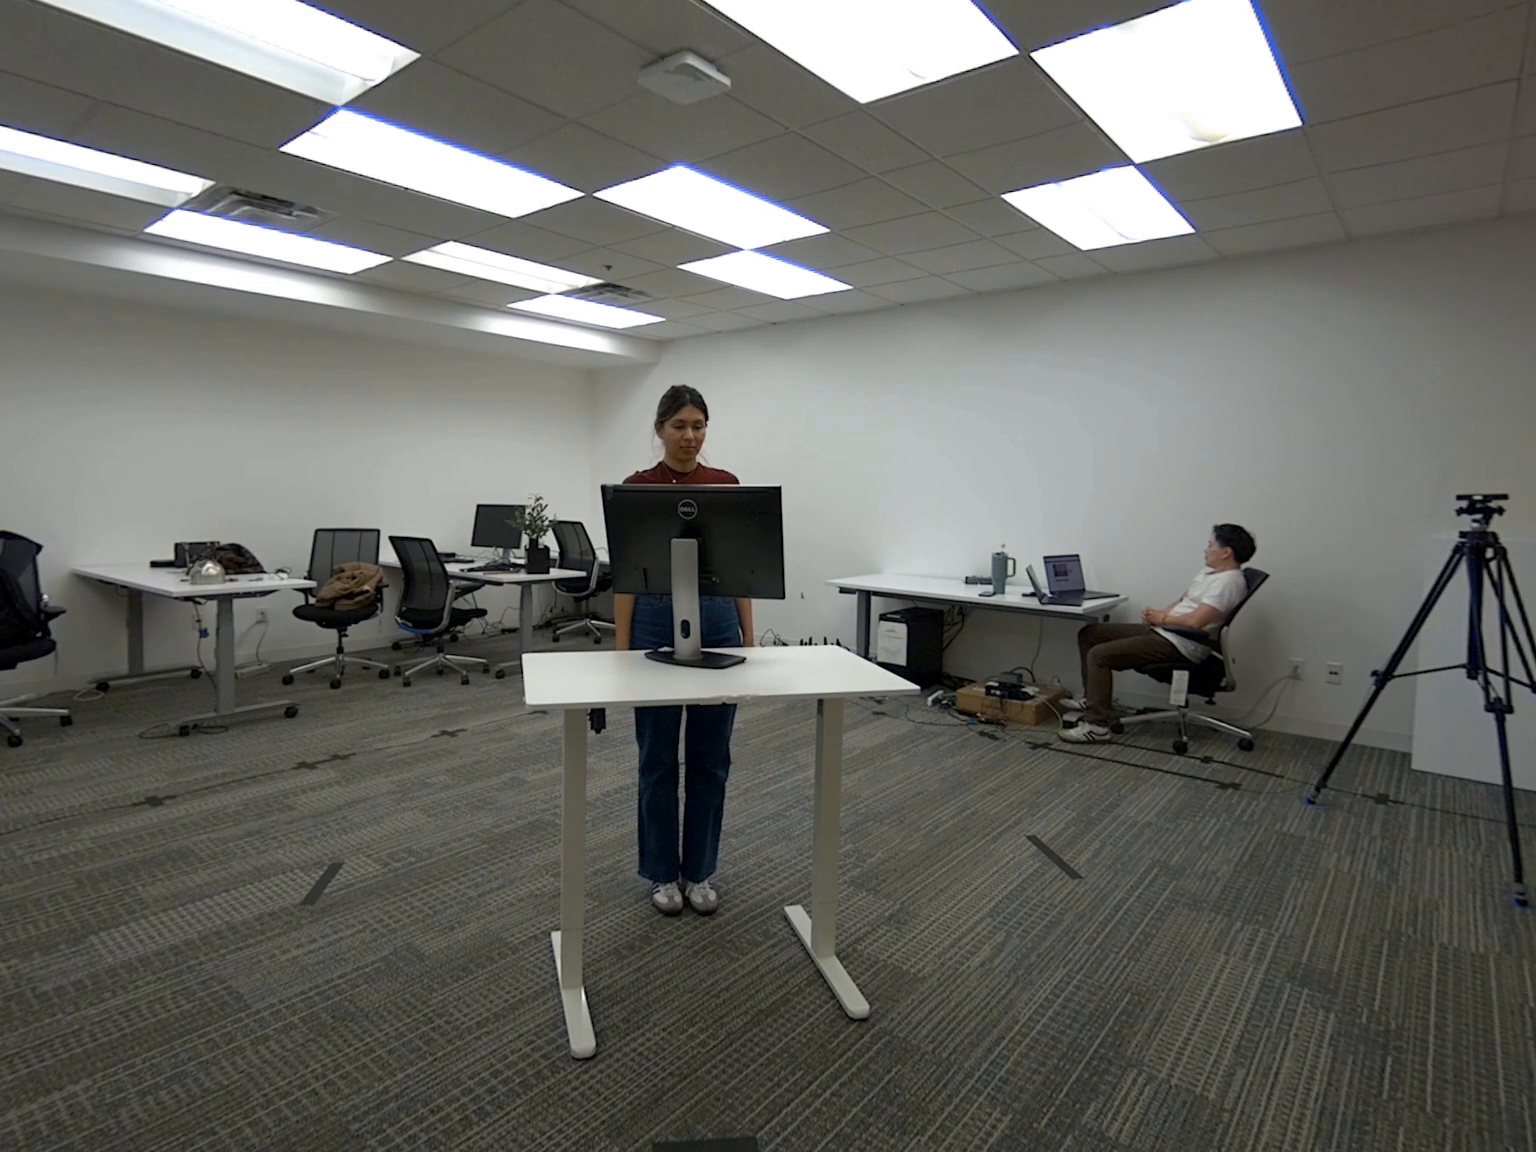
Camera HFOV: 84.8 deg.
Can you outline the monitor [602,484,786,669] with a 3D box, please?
[{"bbox_3d":[-0.241,-0.006,2.480,0.545,0.519,0.186,1,7,11],"label":"monitor"}]
